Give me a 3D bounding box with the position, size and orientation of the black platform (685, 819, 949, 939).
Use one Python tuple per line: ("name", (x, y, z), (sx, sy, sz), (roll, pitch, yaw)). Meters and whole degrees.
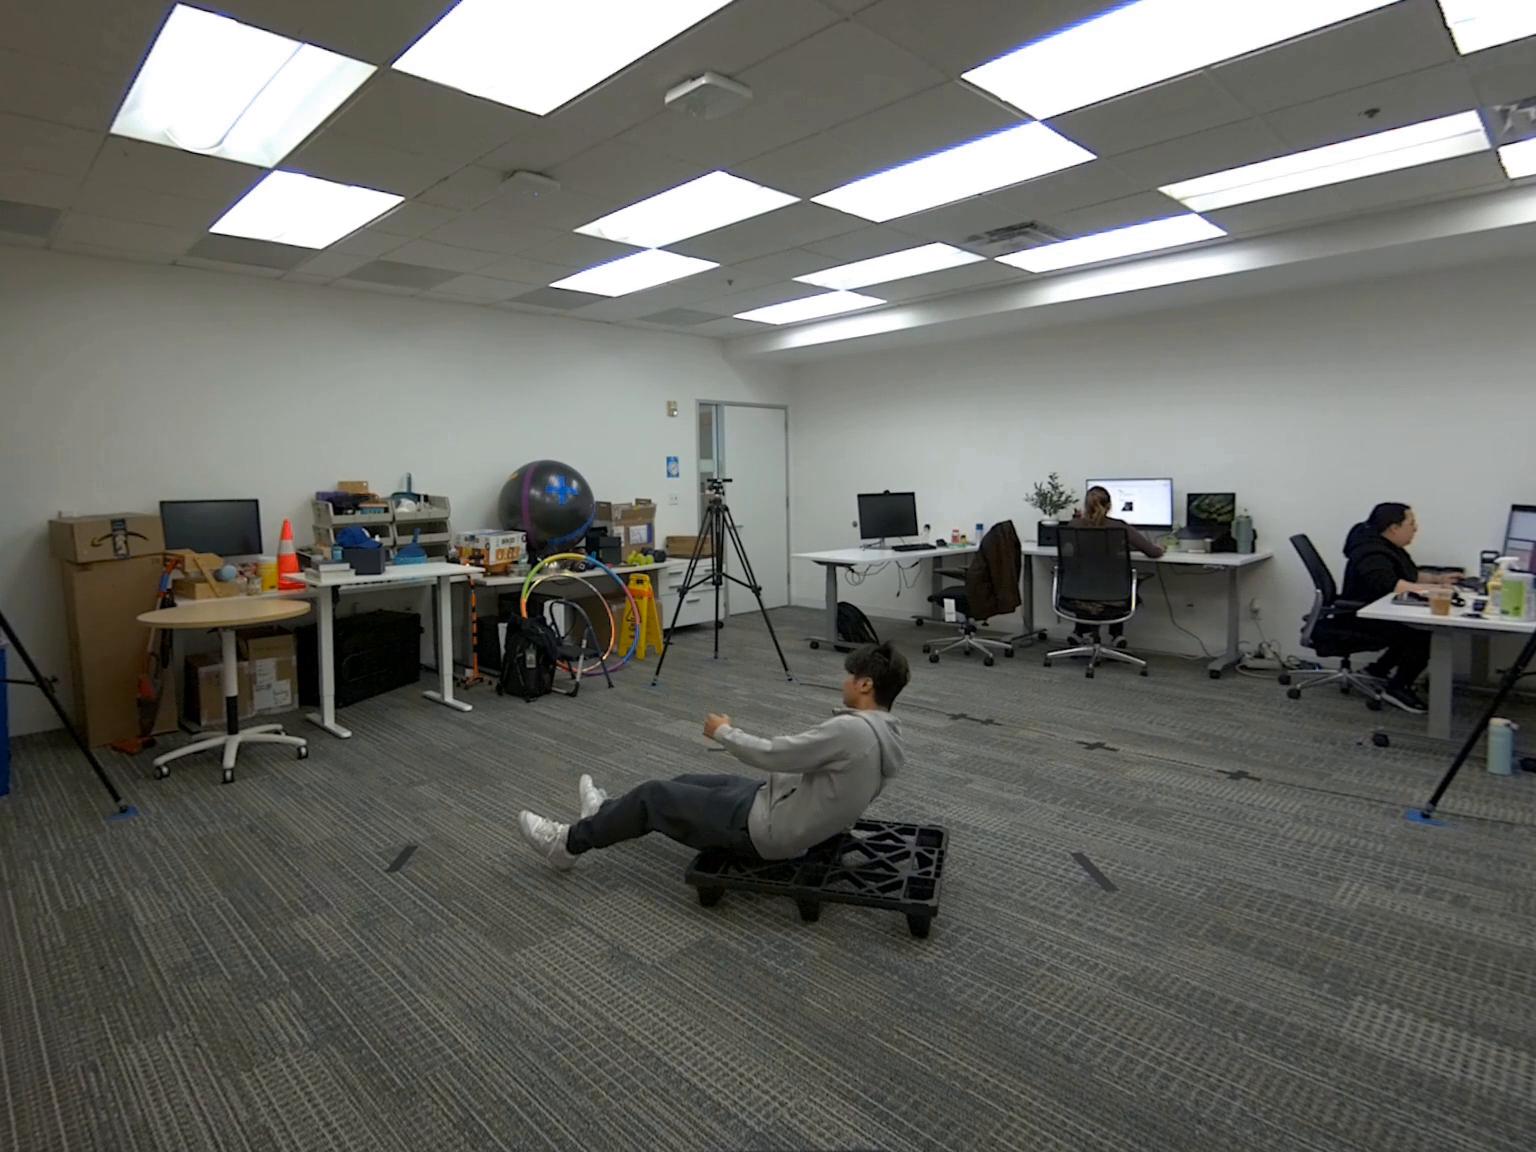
("black platform", (0.185, 0.988, 2.917), (0.820, 0.143, 0.596), (1, 5, 18))
